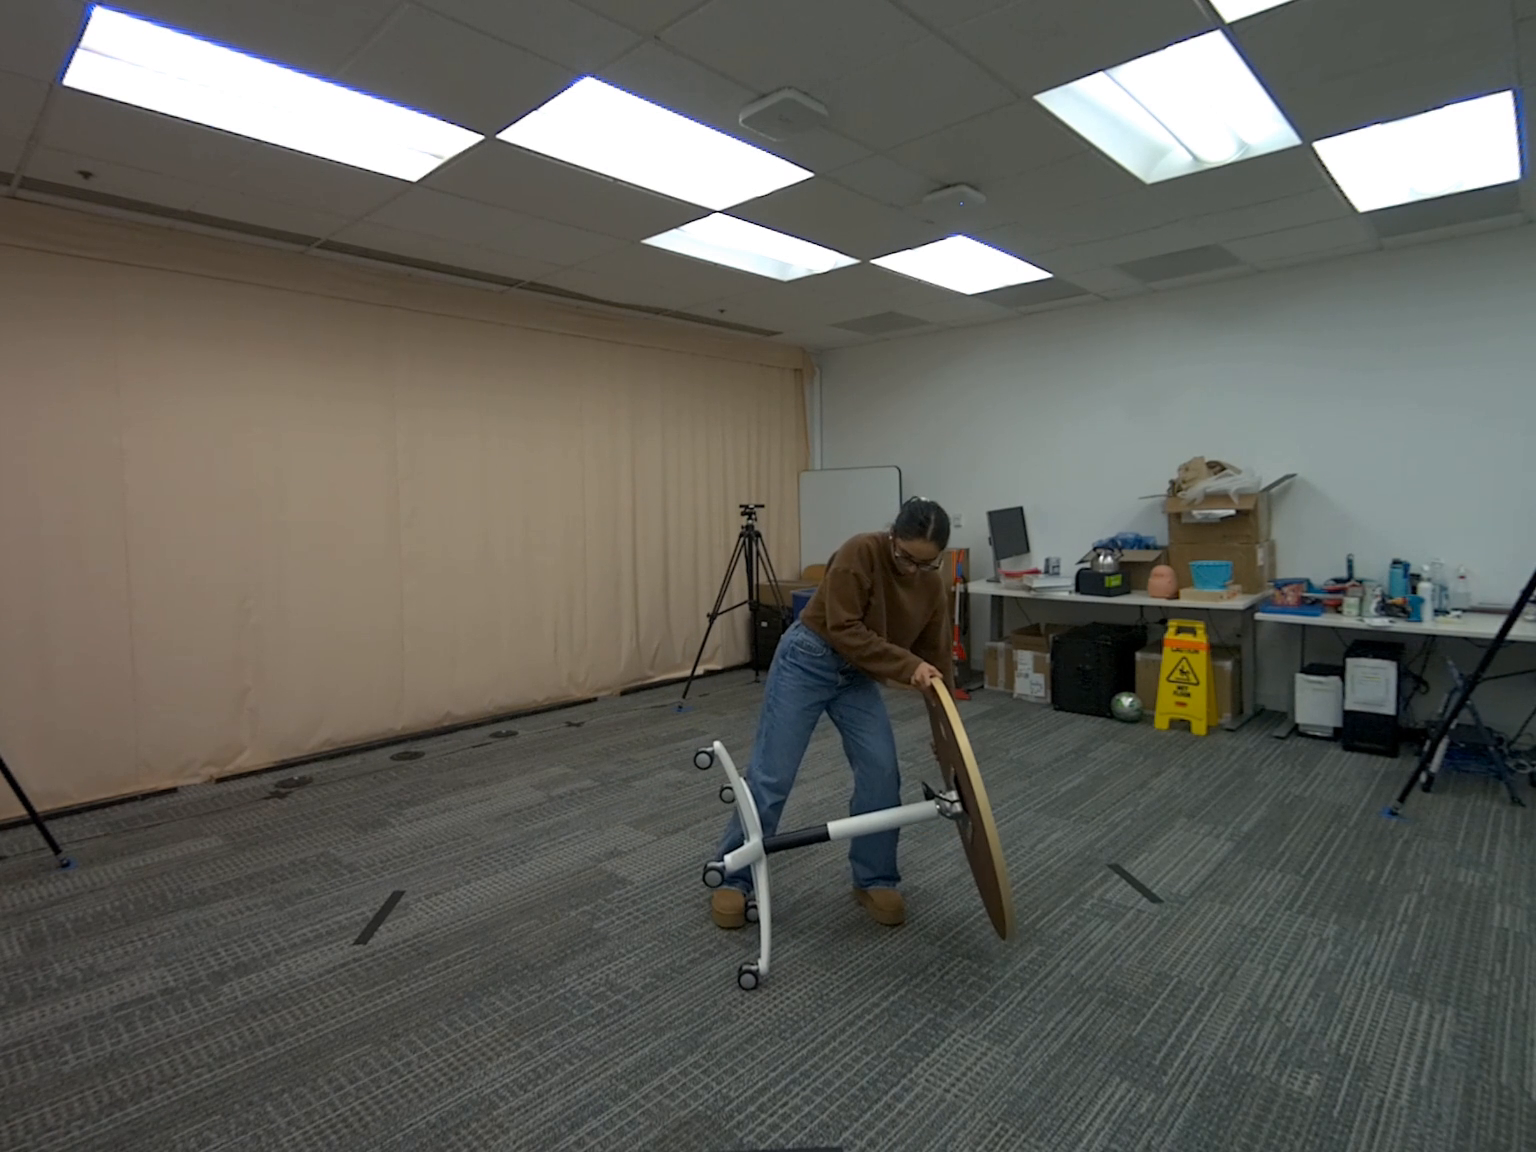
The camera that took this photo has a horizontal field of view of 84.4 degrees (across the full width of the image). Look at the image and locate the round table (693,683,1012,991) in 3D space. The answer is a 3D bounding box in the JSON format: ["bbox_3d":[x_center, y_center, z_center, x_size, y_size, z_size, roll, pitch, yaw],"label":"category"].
[{"bbox_3d":[0.232,0.784,2.568,0.797,0.762,0.763,-14,3,3],"label":"round table"}]
